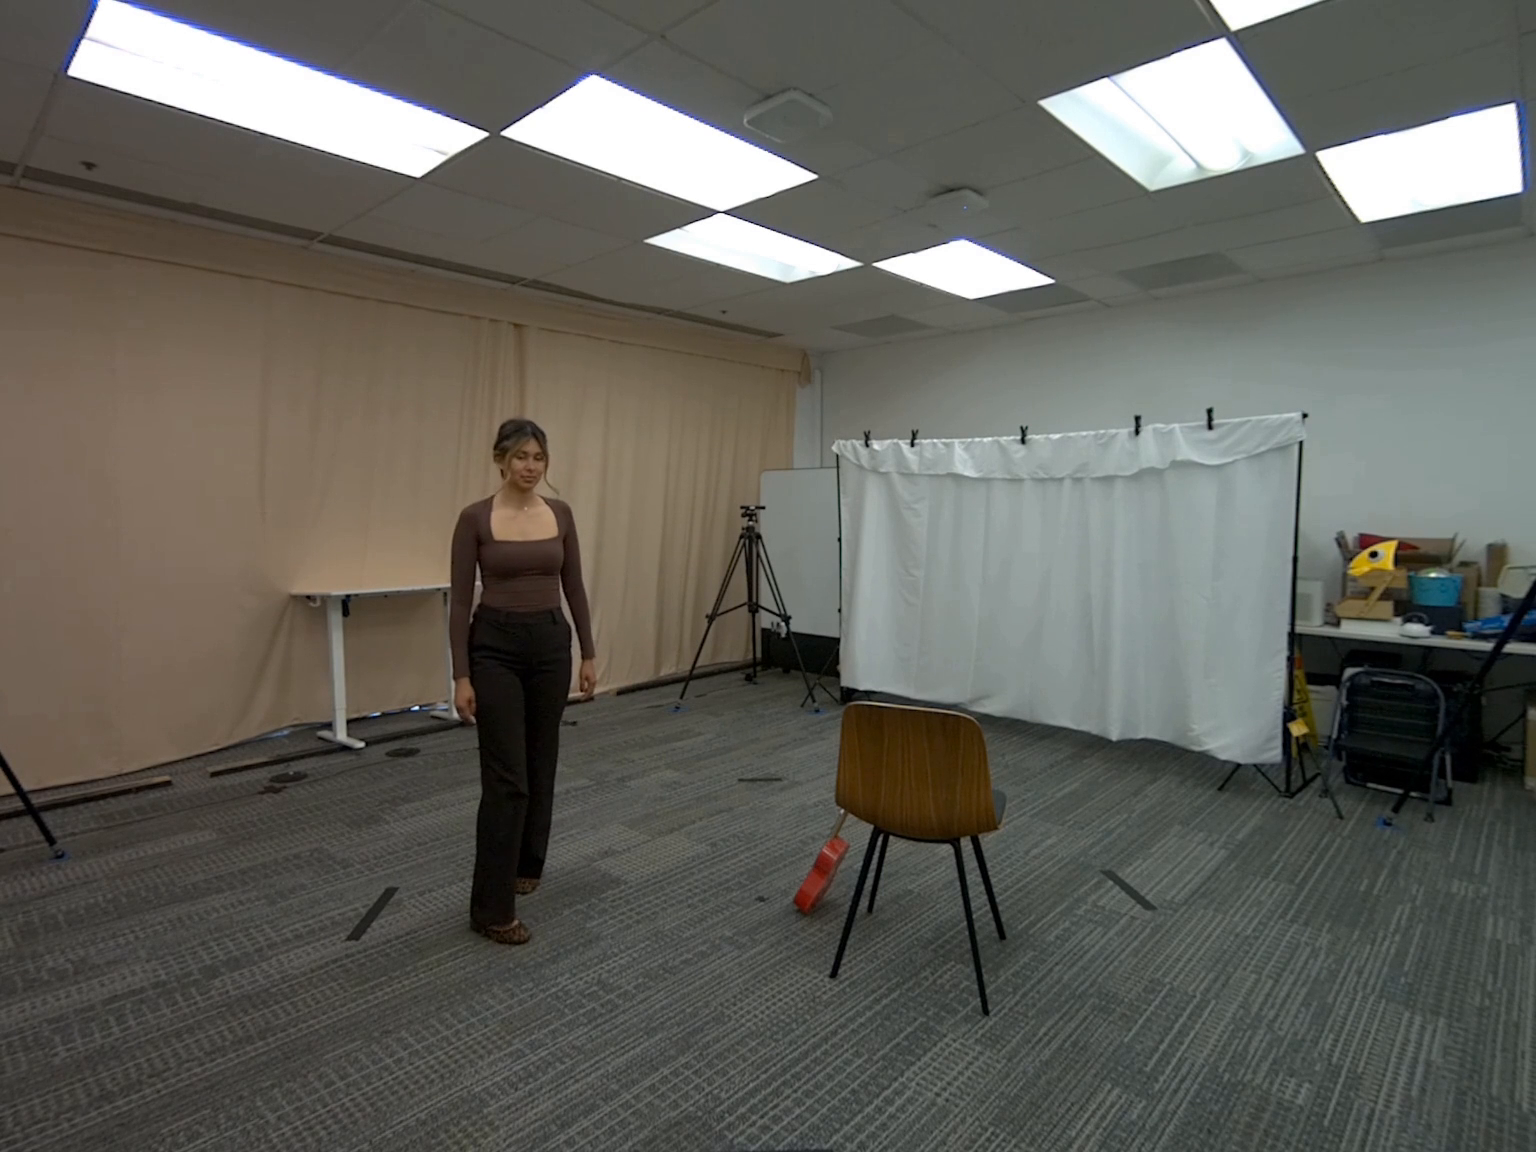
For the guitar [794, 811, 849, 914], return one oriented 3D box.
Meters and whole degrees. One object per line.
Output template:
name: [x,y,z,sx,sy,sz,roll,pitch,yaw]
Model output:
guitar: [0.220,0.929,2.839,0.072,0.496,0.188,30,23,22]
